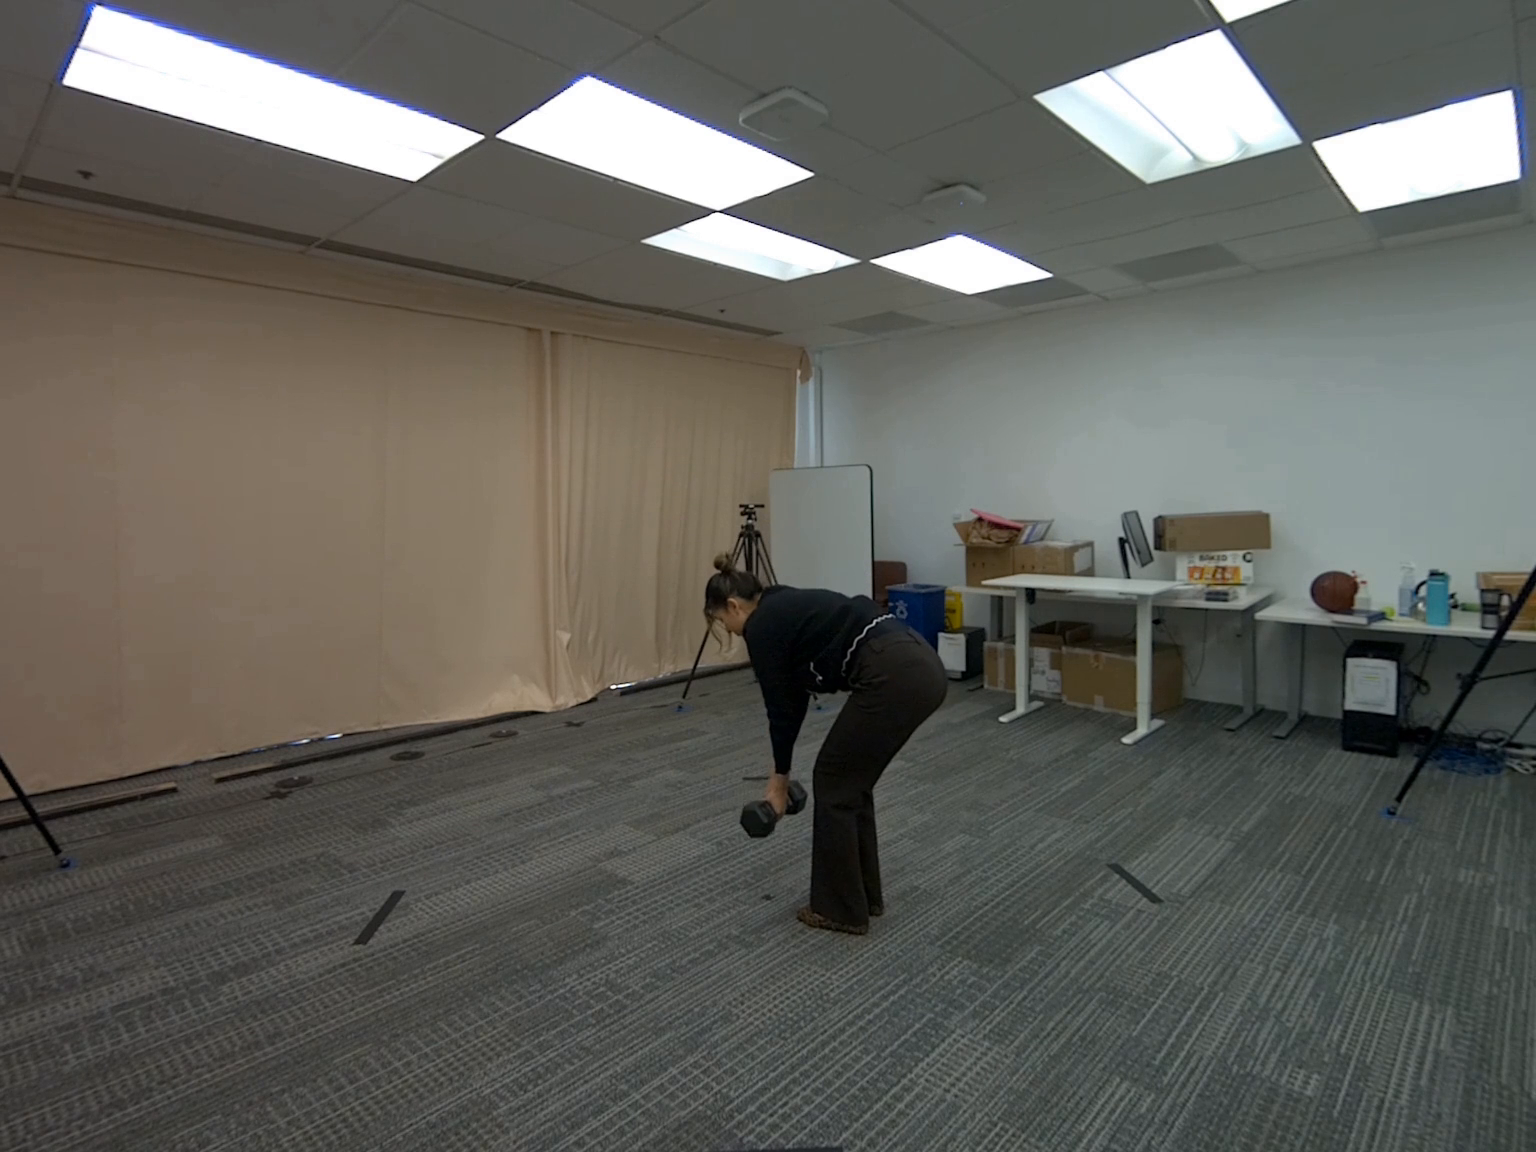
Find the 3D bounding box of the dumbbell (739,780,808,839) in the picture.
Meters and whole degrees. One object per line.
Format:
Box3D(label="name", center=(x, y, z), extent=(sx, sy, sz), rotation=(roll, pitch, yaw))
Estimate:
Box3D(label="dumbbell", center=(0.033, 0.817, 2.942), extent=(0.126, 0.109, 0.285), rotation=(-14, -2, 36))
